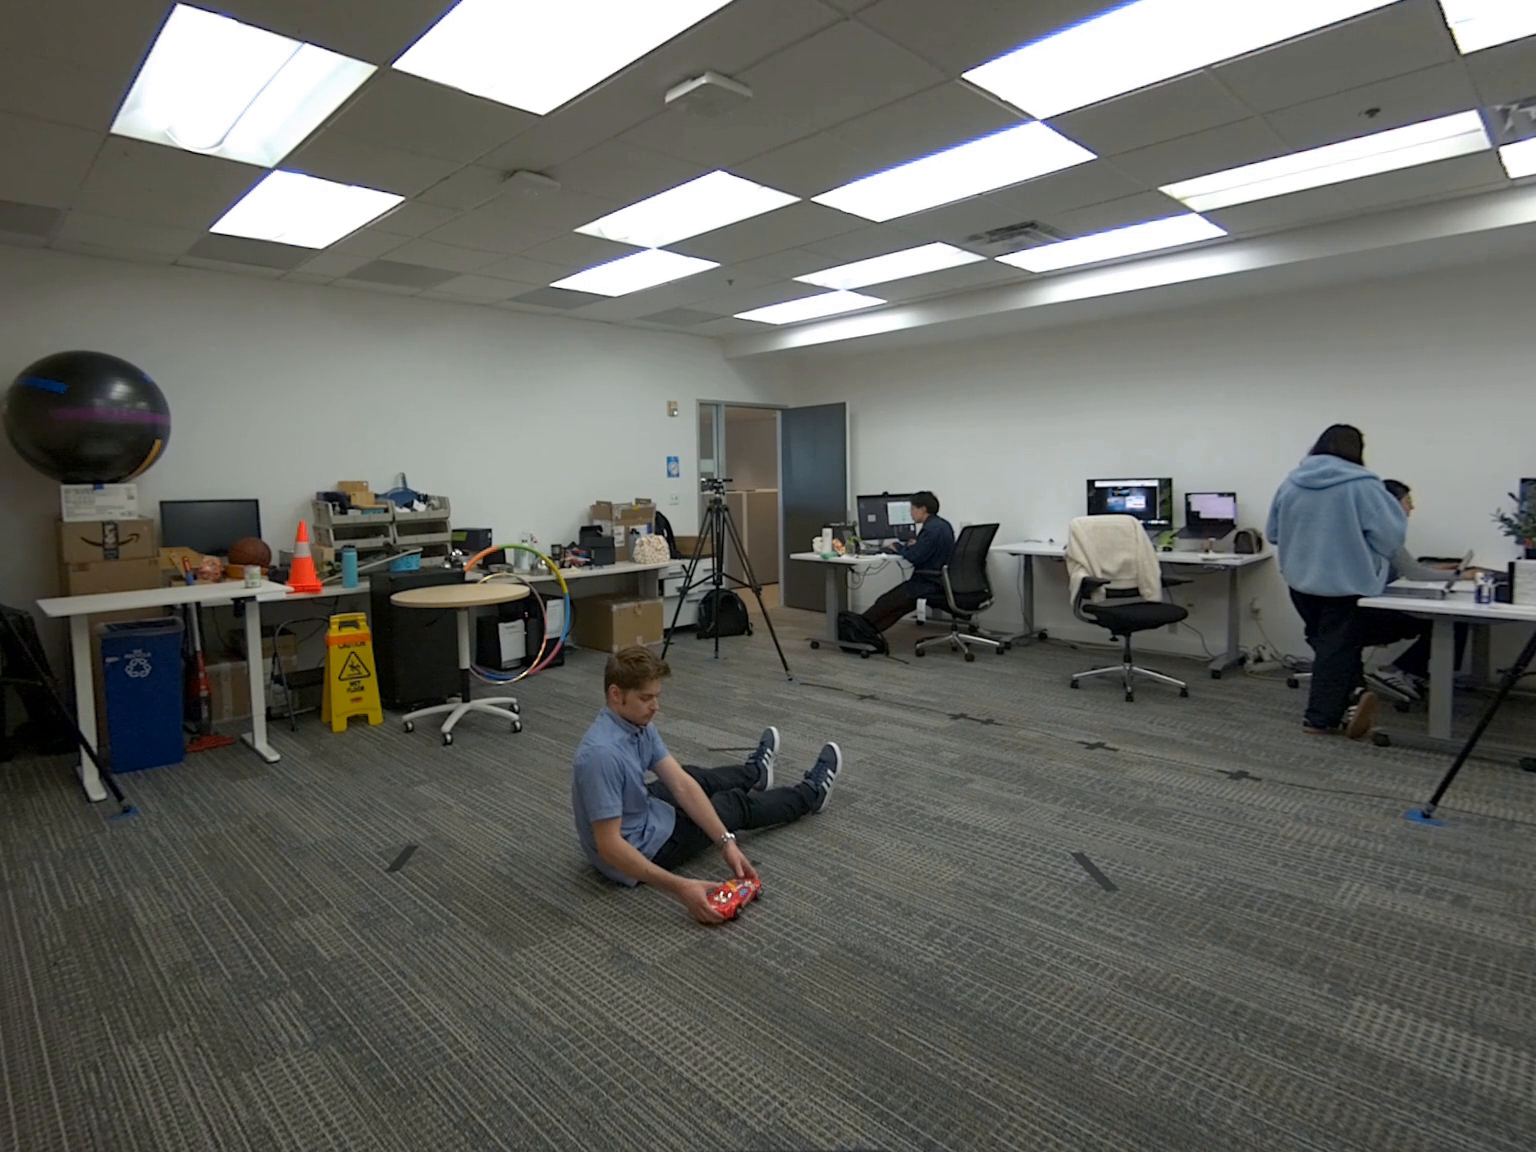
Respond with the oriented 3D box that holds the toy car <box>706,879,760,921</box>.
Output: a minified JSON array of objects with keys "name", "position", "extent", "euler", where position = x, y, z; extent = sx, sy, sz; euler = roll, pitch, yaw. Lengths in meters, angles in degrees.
[{"name":"toy car","position":[-0.114,1.056,2.786],"extent":[0.133,0.083,0.249],"euler":[6,1,23]}]
